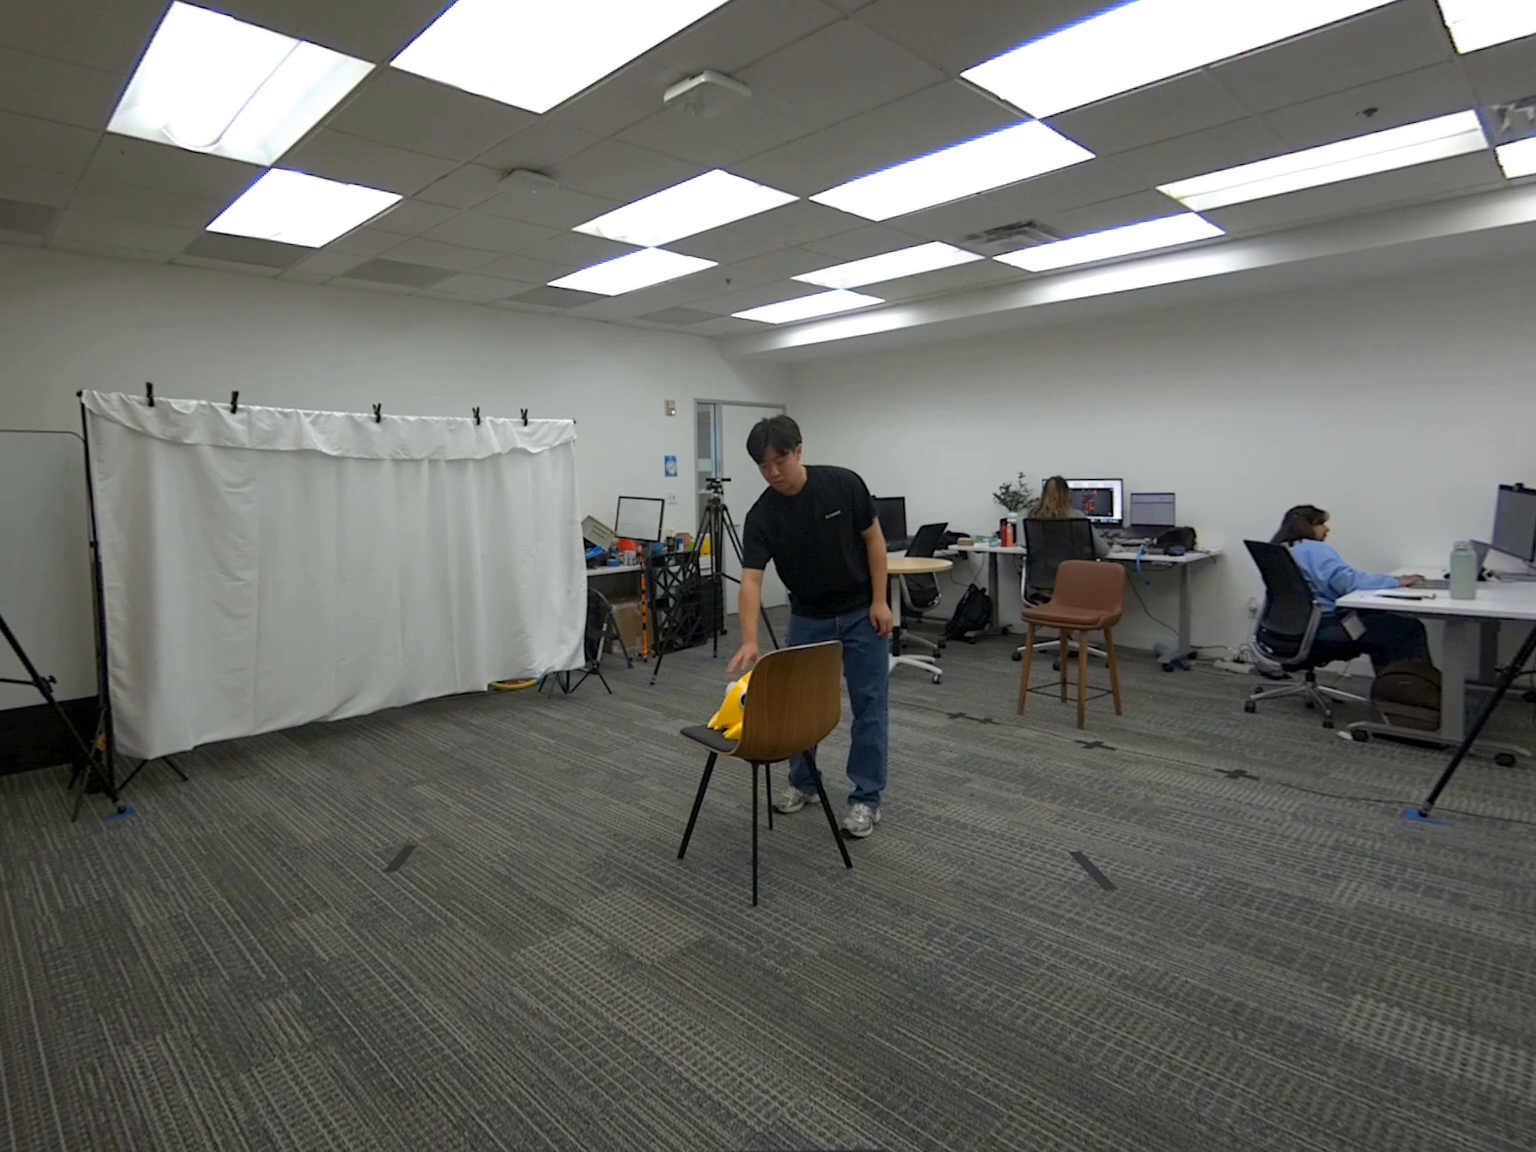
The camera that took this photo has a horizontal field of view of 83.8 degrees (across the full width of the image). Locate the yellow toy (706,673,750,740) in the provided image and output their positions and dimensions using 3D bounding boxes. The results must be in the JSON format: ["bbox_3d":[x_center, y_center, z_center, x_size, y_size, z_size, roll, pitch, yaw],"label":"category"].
[{"bbox_3d":[-0.094,0.450,3.099,0.188,0.230,0.211,2,6,-32],"label":"yellow toy"}]
